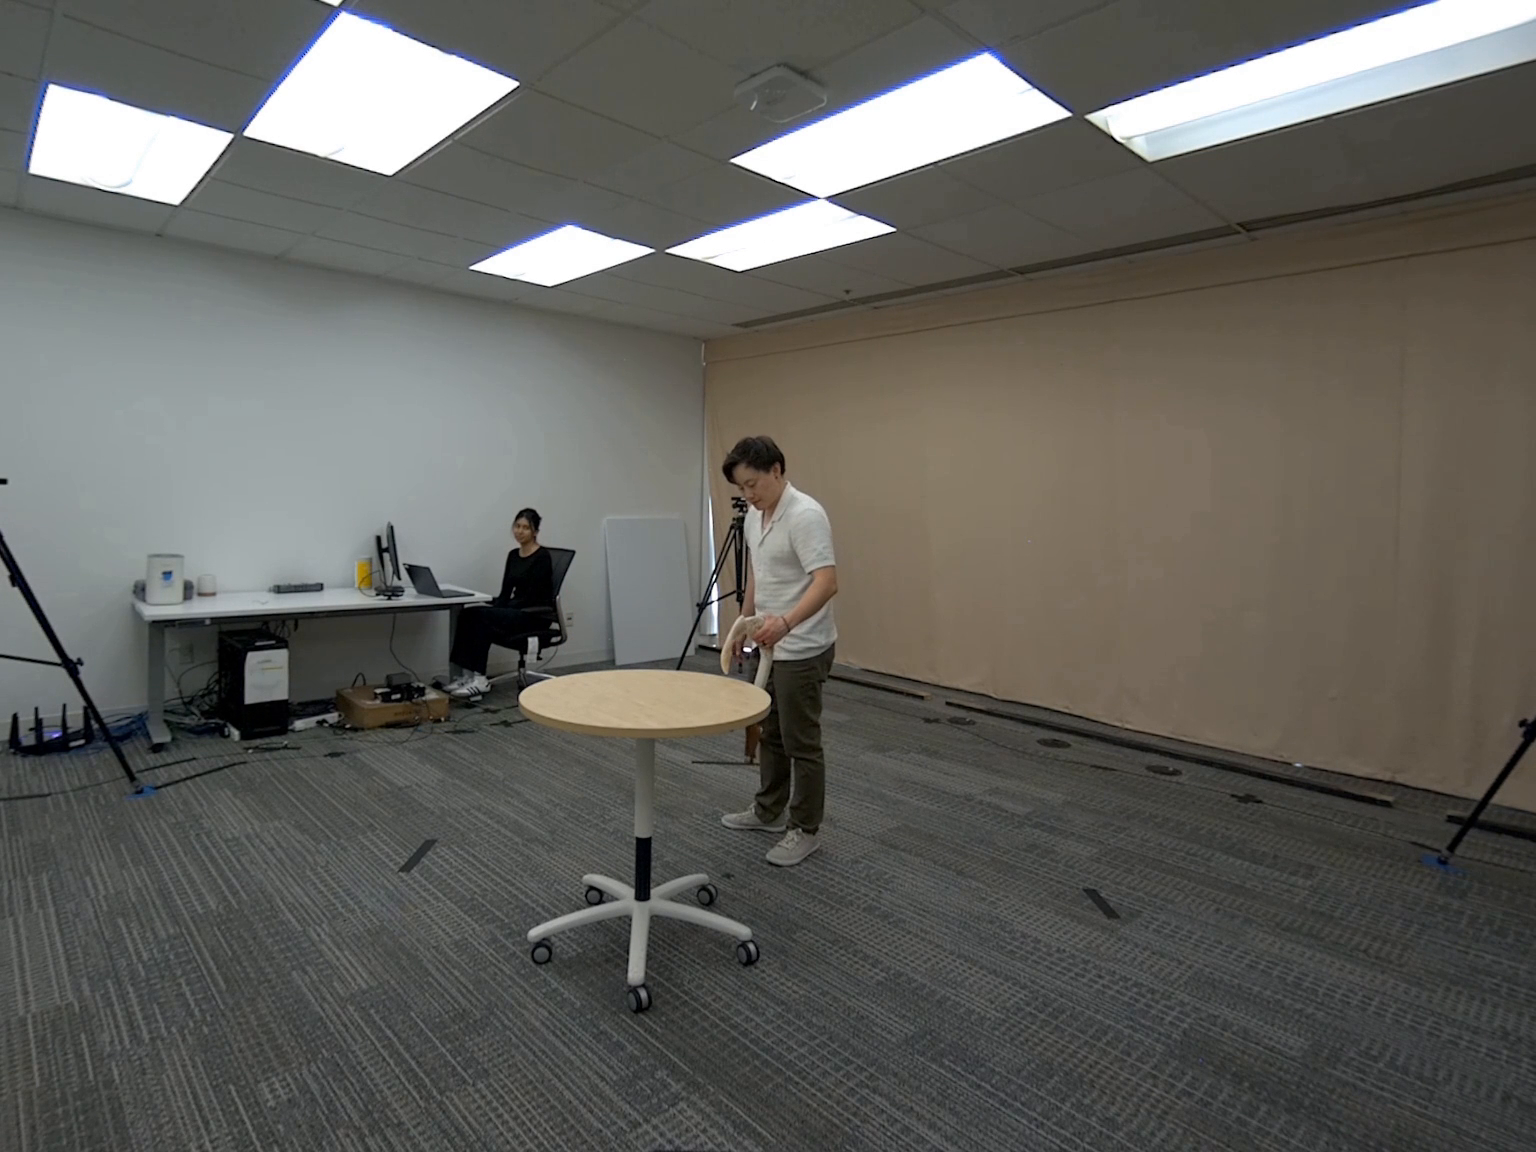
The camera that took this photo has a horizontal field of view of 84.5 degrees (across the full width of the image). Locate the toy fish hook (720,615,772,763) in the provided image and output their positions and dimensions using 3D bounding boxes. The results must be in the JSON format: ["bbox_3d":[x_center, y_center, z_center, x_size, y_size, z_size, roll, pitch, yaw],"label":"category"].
[{"bbox_3d":[-0.086,0.395,2.865,0.219,0.507,0.049,6,-2,-35],"label":"toy fish hook"}]
